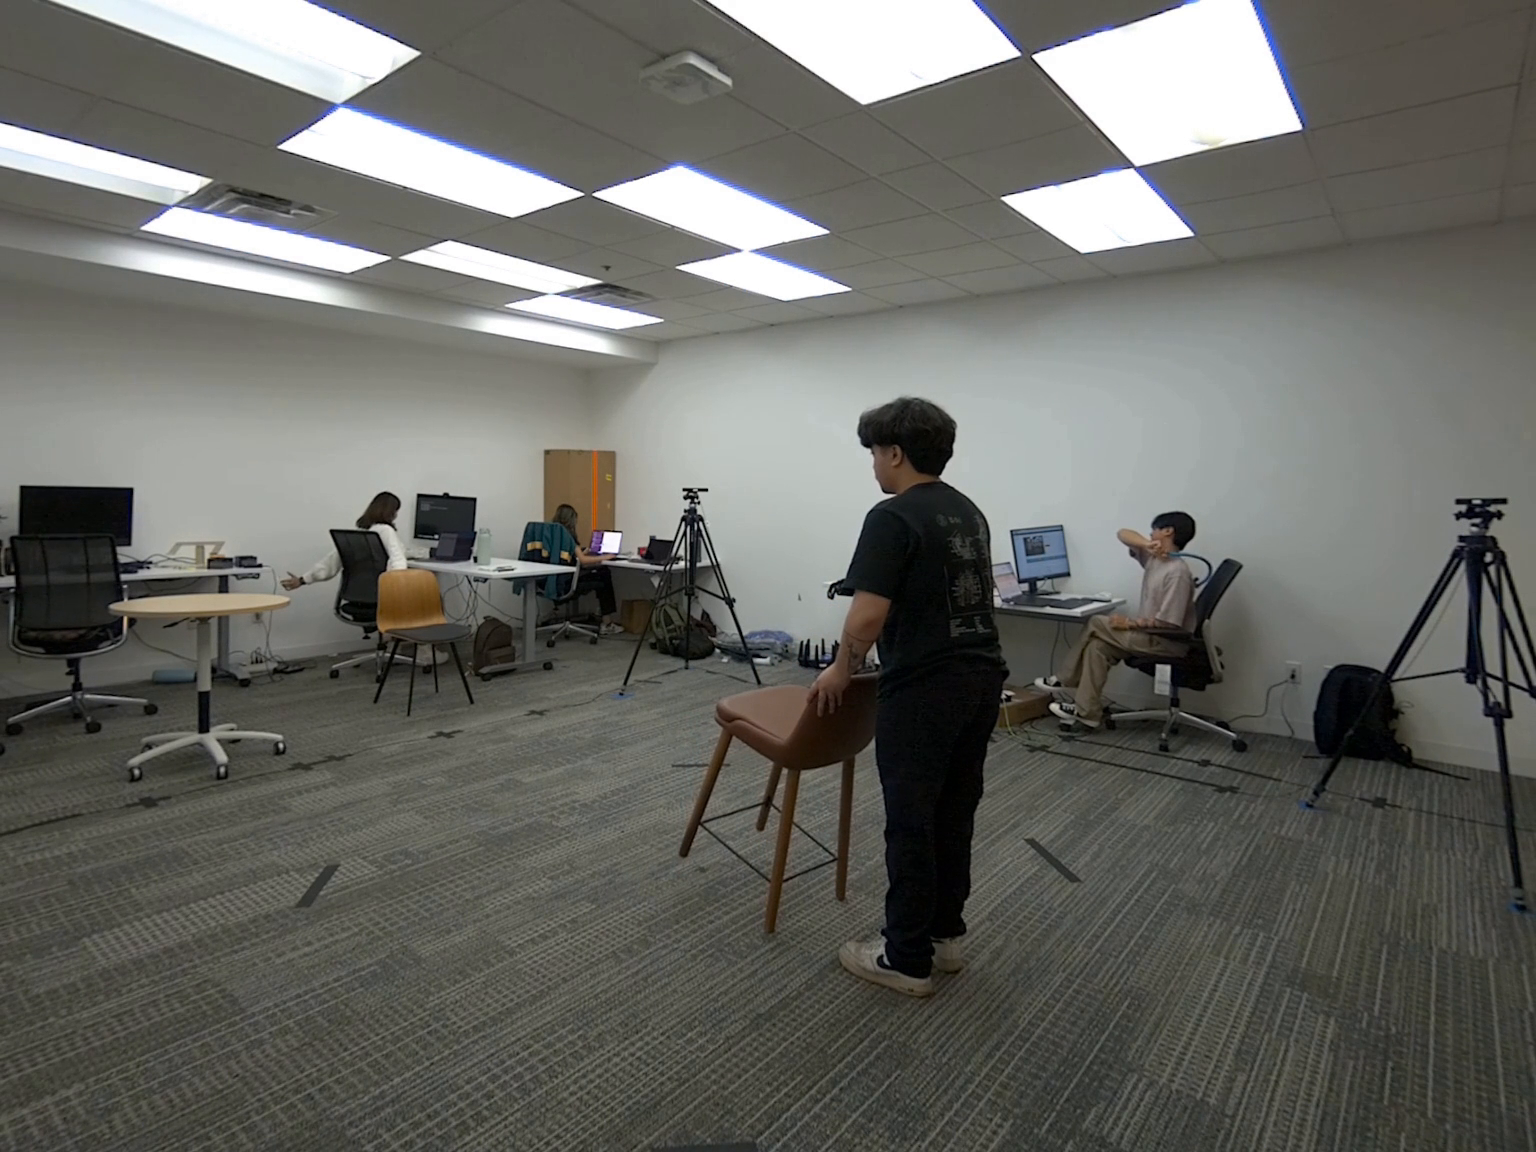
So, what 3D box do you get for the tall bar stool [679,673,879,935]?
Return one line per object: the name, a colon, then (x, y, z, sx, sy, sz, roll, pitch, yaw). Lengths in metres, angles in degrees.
tall bar stool: (0.067, 0.627, 2.838, 0.442, 0.881, 0.487, -1, 20, -44)
